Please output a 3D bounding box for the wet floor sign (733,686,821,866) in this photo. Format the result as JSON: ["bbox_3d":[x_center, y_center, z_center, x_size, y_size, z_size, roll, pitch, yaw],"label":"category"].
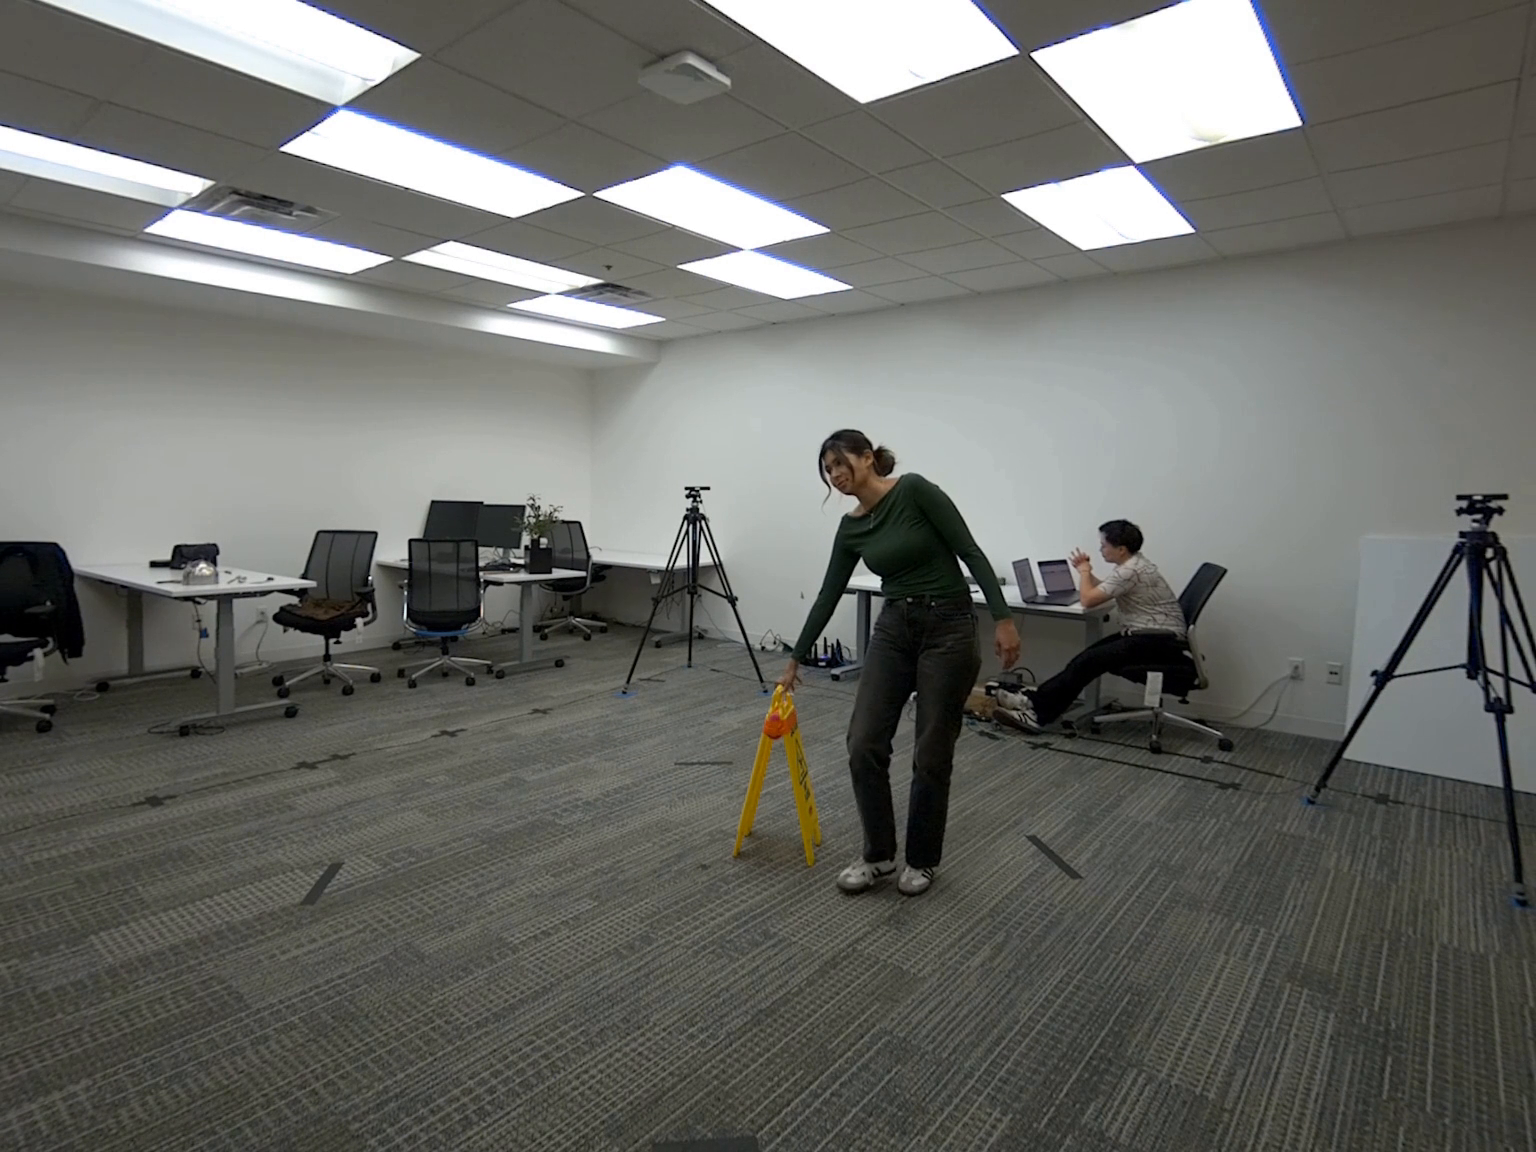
[{"bbox_3d":[0.033,0.730,3.283,0.294,0.645,0.278,1,2,14],"label":"wet floor sign"}]
